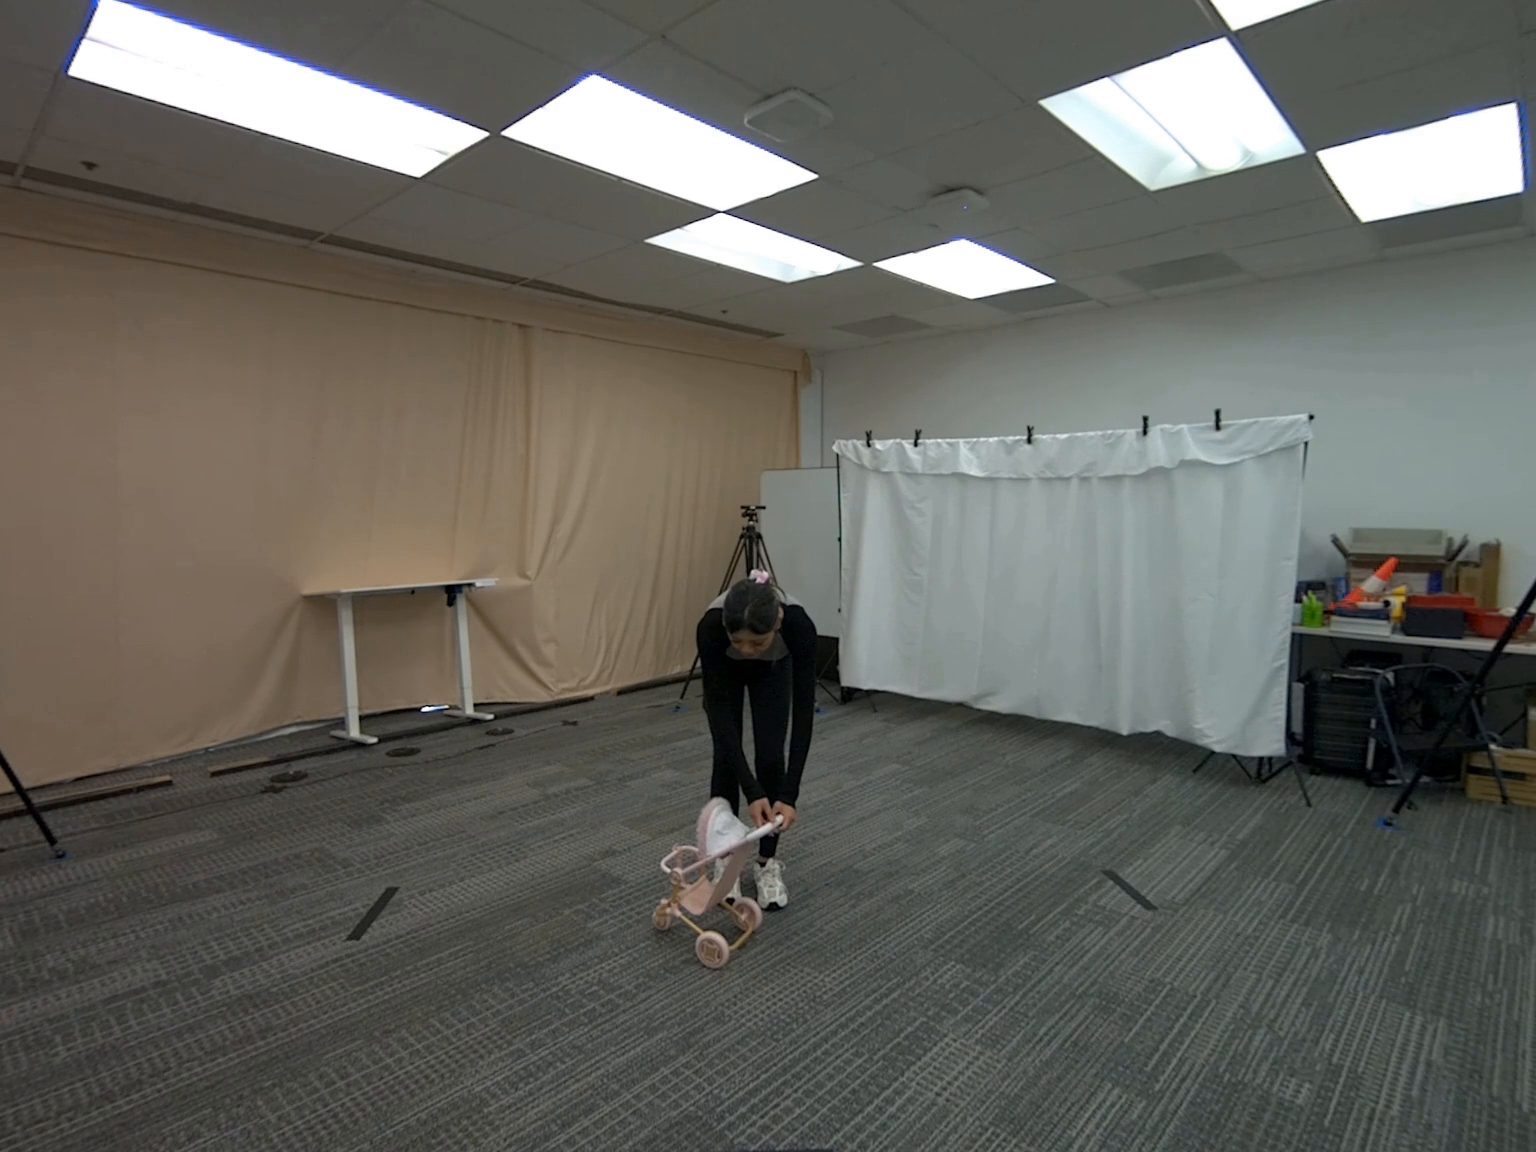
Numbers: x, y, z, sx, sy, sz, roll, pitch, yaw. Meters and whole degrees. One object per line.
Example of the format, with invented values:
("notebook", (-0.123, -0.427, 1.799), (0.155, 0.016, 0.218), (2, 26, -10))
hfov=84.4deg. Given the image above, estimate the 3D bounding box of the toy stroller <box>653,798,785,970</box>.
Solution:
("toy stroller", (-0.173, 0.940, 2.673), (0.352, 0.533, 0.274), (19, 10, 27))
